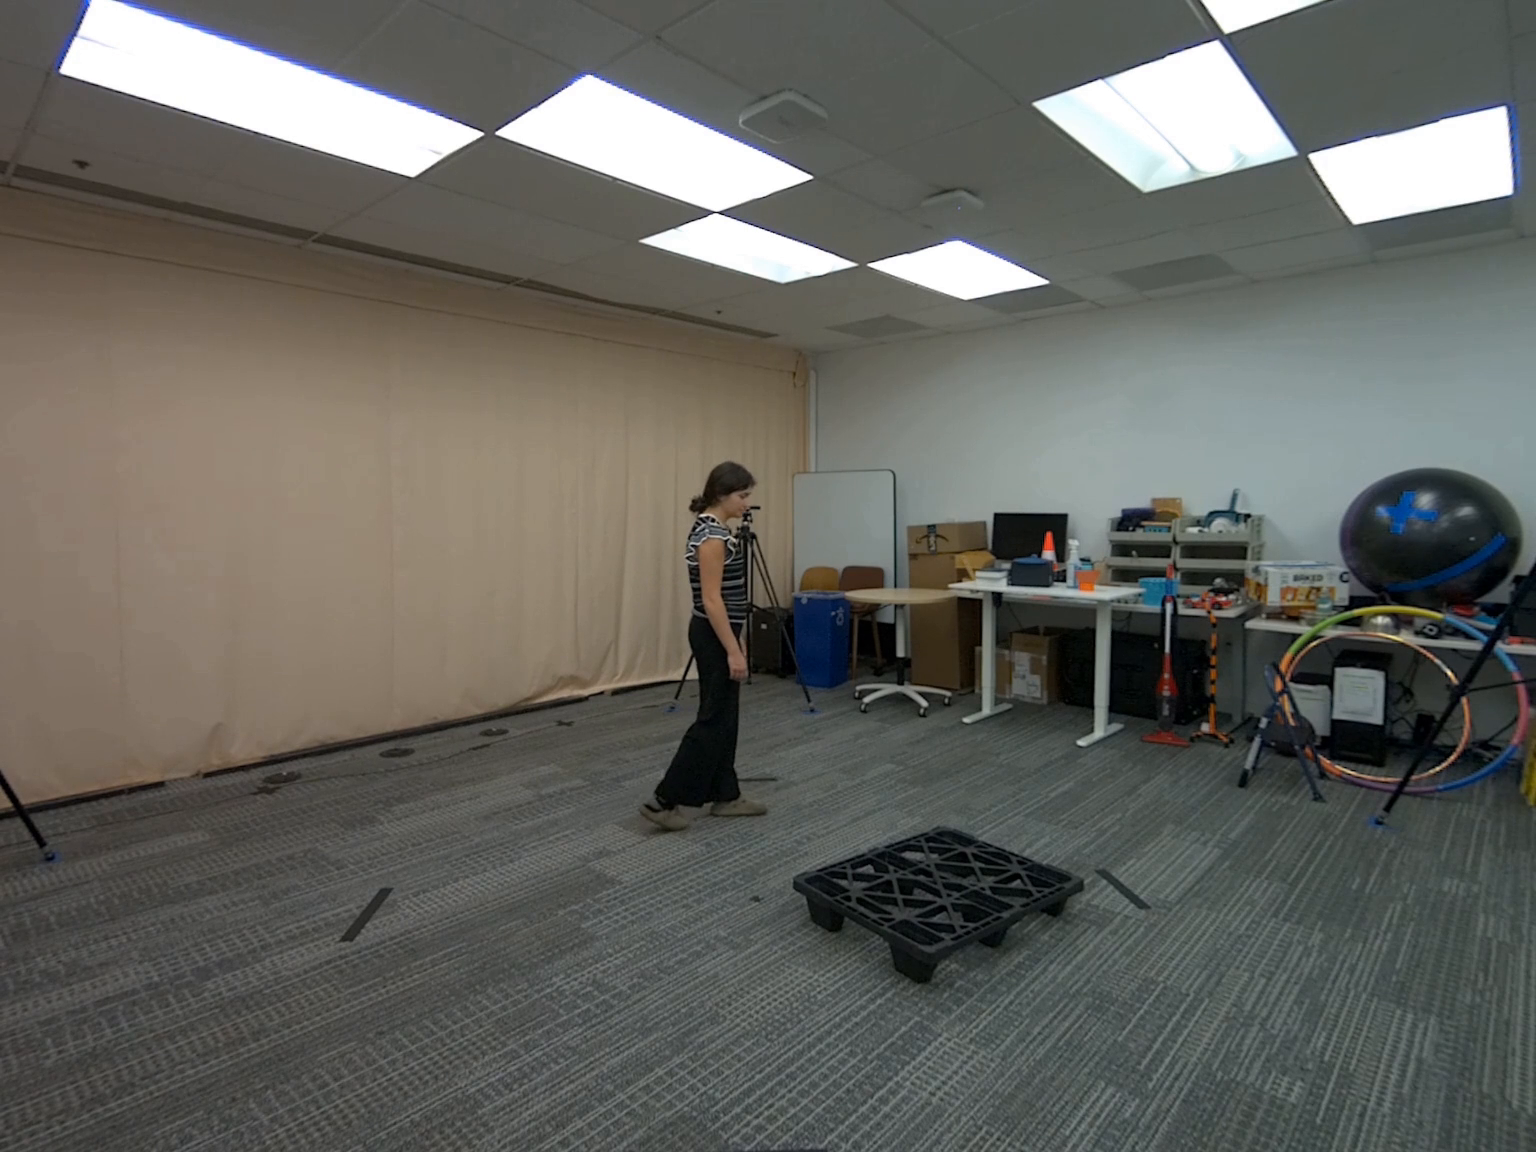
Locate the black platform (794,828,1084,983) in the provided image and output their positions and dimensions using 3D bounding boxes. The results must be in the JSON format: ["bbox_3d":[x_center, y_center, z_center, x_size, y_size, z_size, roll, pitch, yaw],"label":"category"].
[{"bbox_3d":[0.585,1.088,2.839,0.782,0.143,0.625,-4,7,-37],"label":"black platform"}]
